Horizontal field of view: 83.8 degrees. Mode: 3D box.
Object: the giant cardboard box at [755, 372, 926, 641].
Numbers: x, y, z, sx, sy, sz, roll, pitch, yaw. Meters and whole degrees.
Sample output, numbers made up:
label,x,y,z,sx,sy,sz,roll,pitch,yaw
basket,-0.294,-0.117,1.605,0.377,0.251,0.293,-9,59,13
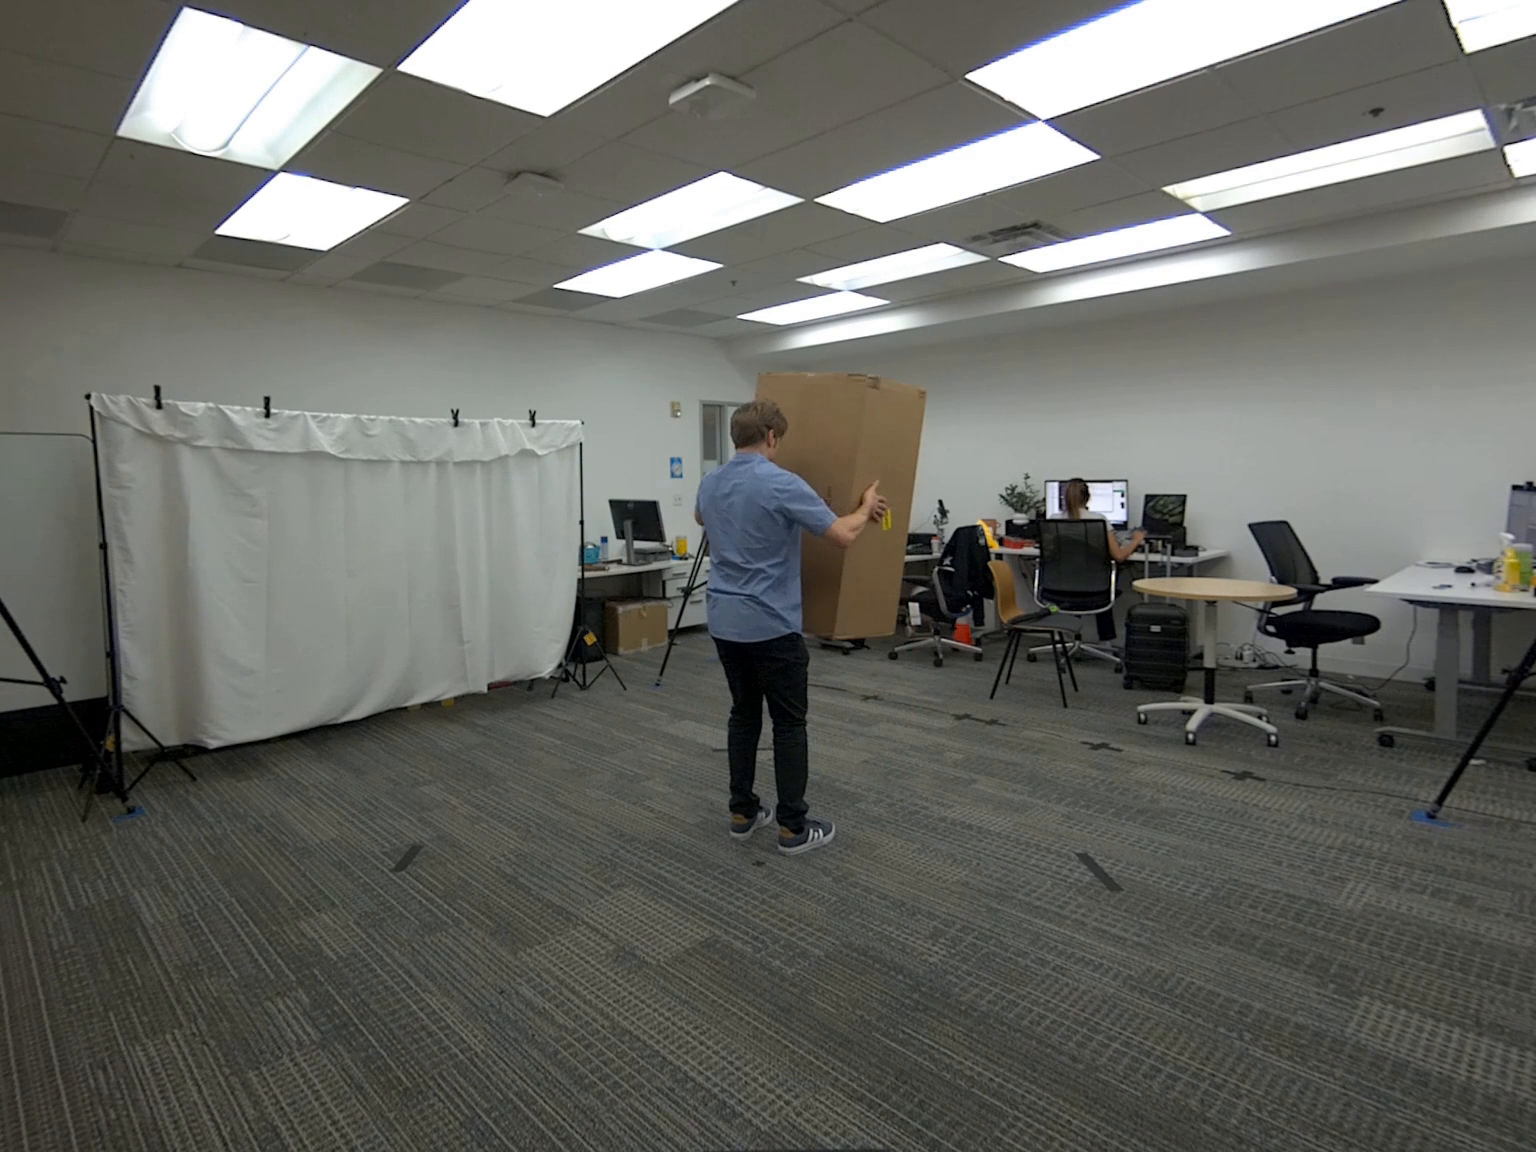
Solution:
label,x,y,z,sx,sy,sz,roll,pitch,yaw
giant cardboard box,0.246,-0.298,3.591,0.597,1.022,0.413,12,7,44
